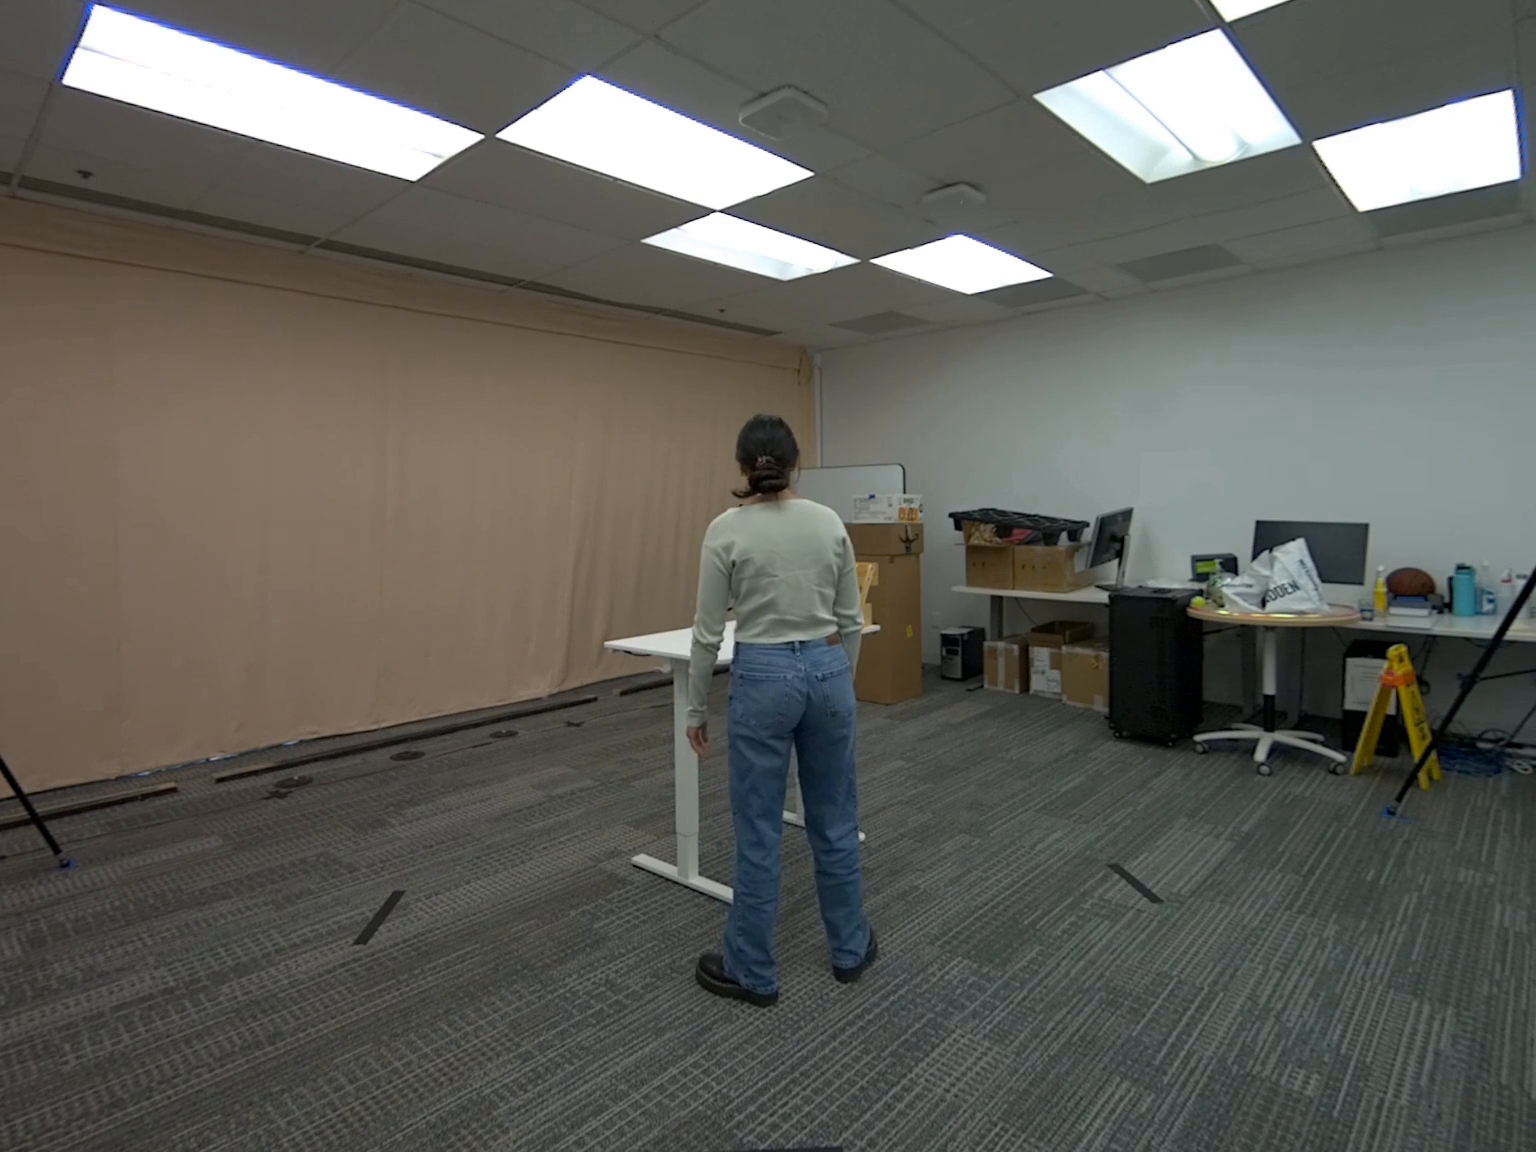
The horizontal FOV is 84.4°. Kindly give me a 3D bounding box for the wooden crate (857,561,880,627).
[{"bbox_3d":[0.256,0.074,3.529,0.335,0.273,0.293,2,4,41],"label":"wooden crate"}]
